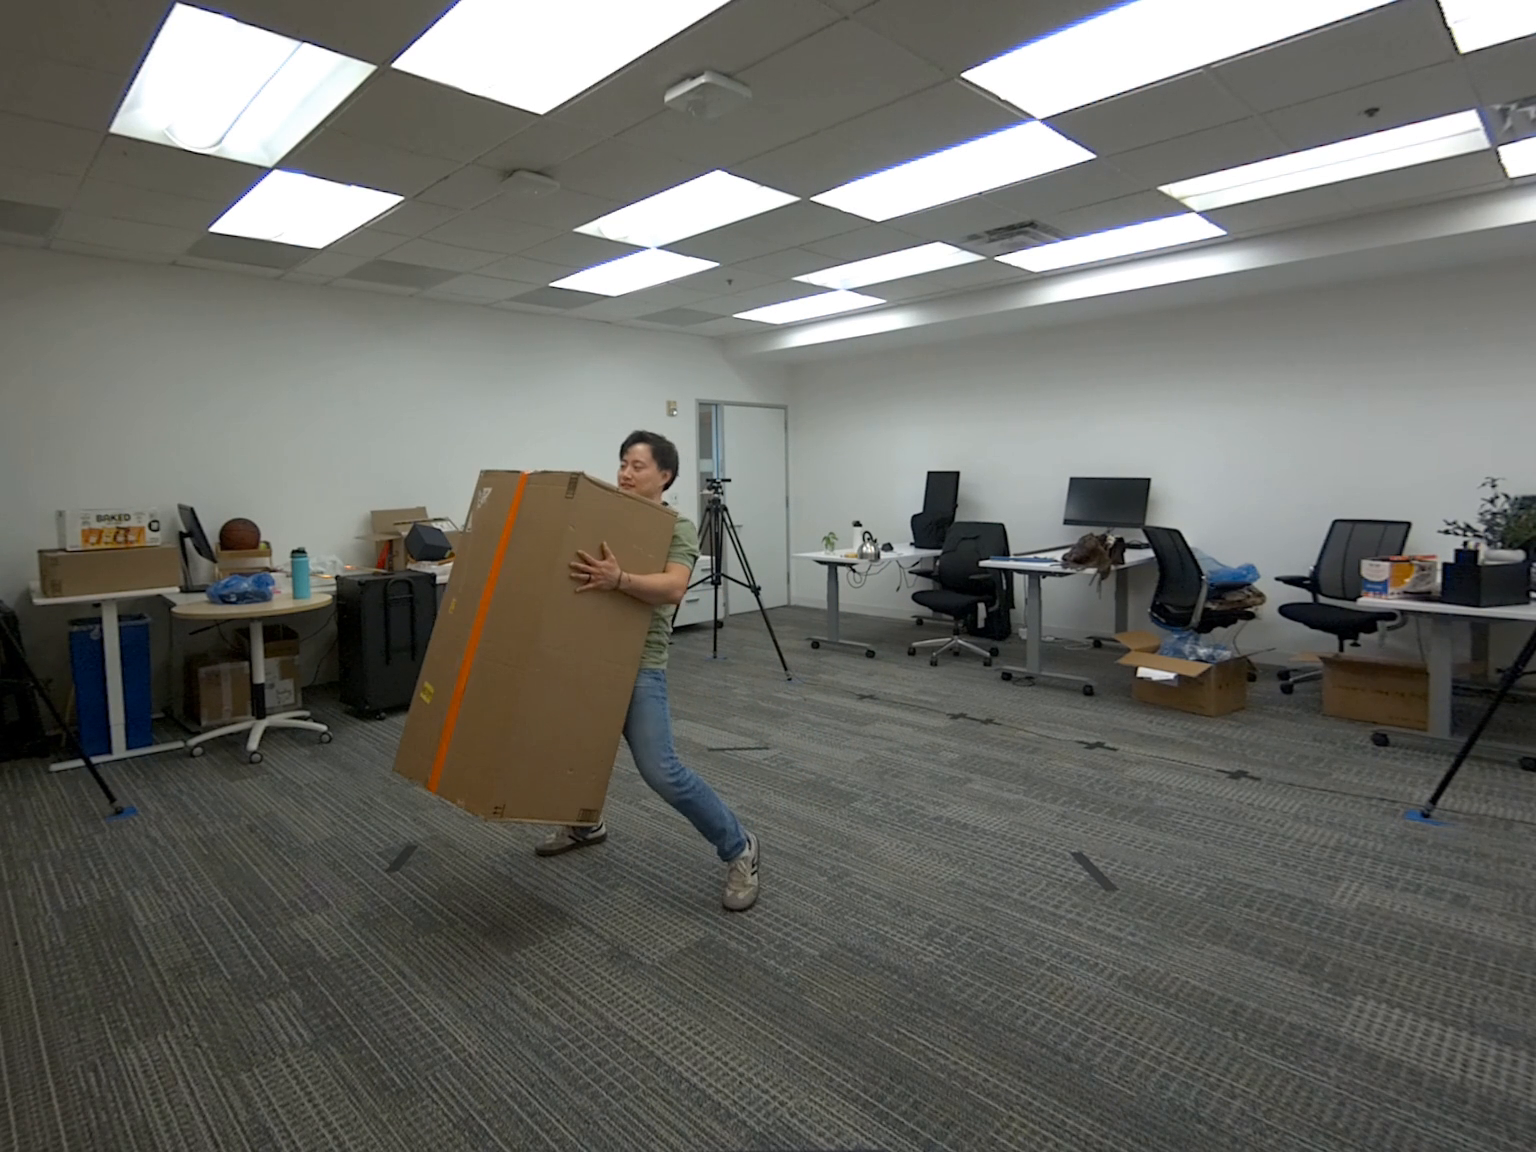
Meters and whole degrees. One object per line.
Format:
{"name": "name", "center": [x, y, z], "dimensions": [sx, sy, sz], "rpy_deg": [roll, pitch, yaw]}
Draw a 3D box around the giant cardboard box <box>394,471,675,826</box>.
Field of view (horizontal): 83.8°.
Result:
{"name": "giant cardboard box", "center": [-0.752, 0.220, 2.774], "dimensions": [0.596, 1.032, 0.410], "rpy_deg": [6, -12, 43]}
